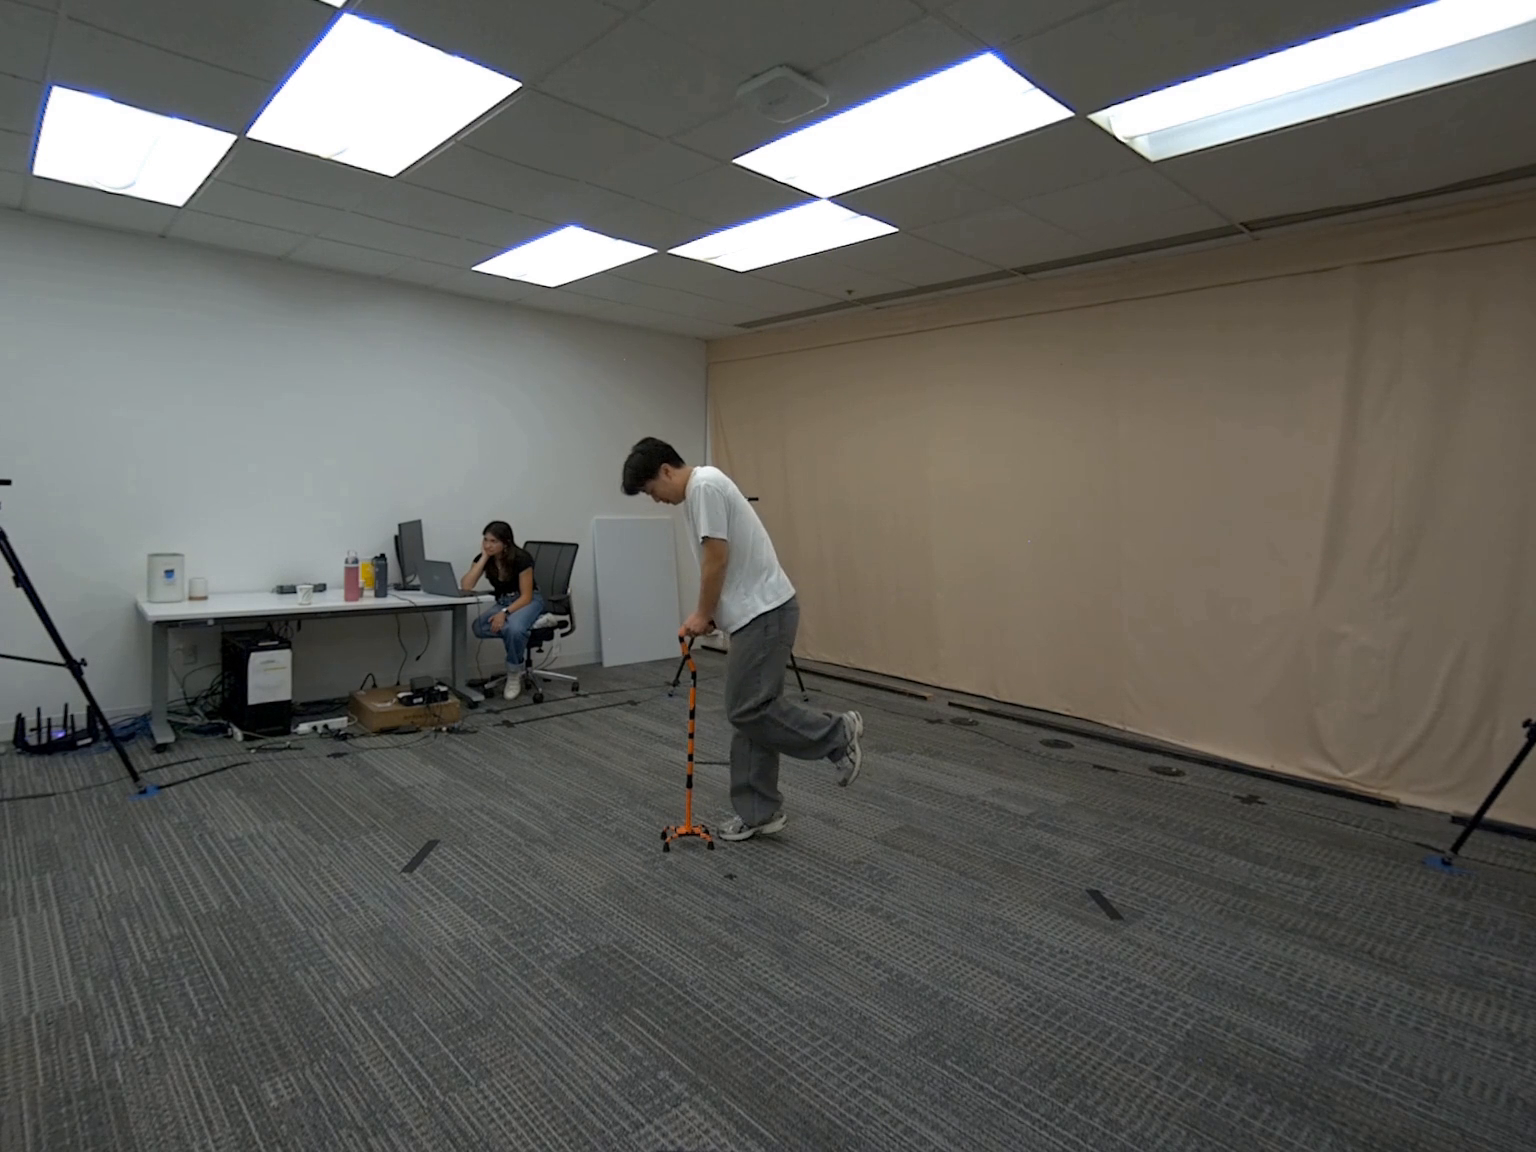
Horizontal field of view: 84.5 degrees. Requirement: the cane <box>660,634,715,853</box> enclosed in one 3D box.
[{"bbox_3d":[-0.324,0.638,3.364,0.204,0.906,0.153,1,3,-12],"label":"cane"}]
